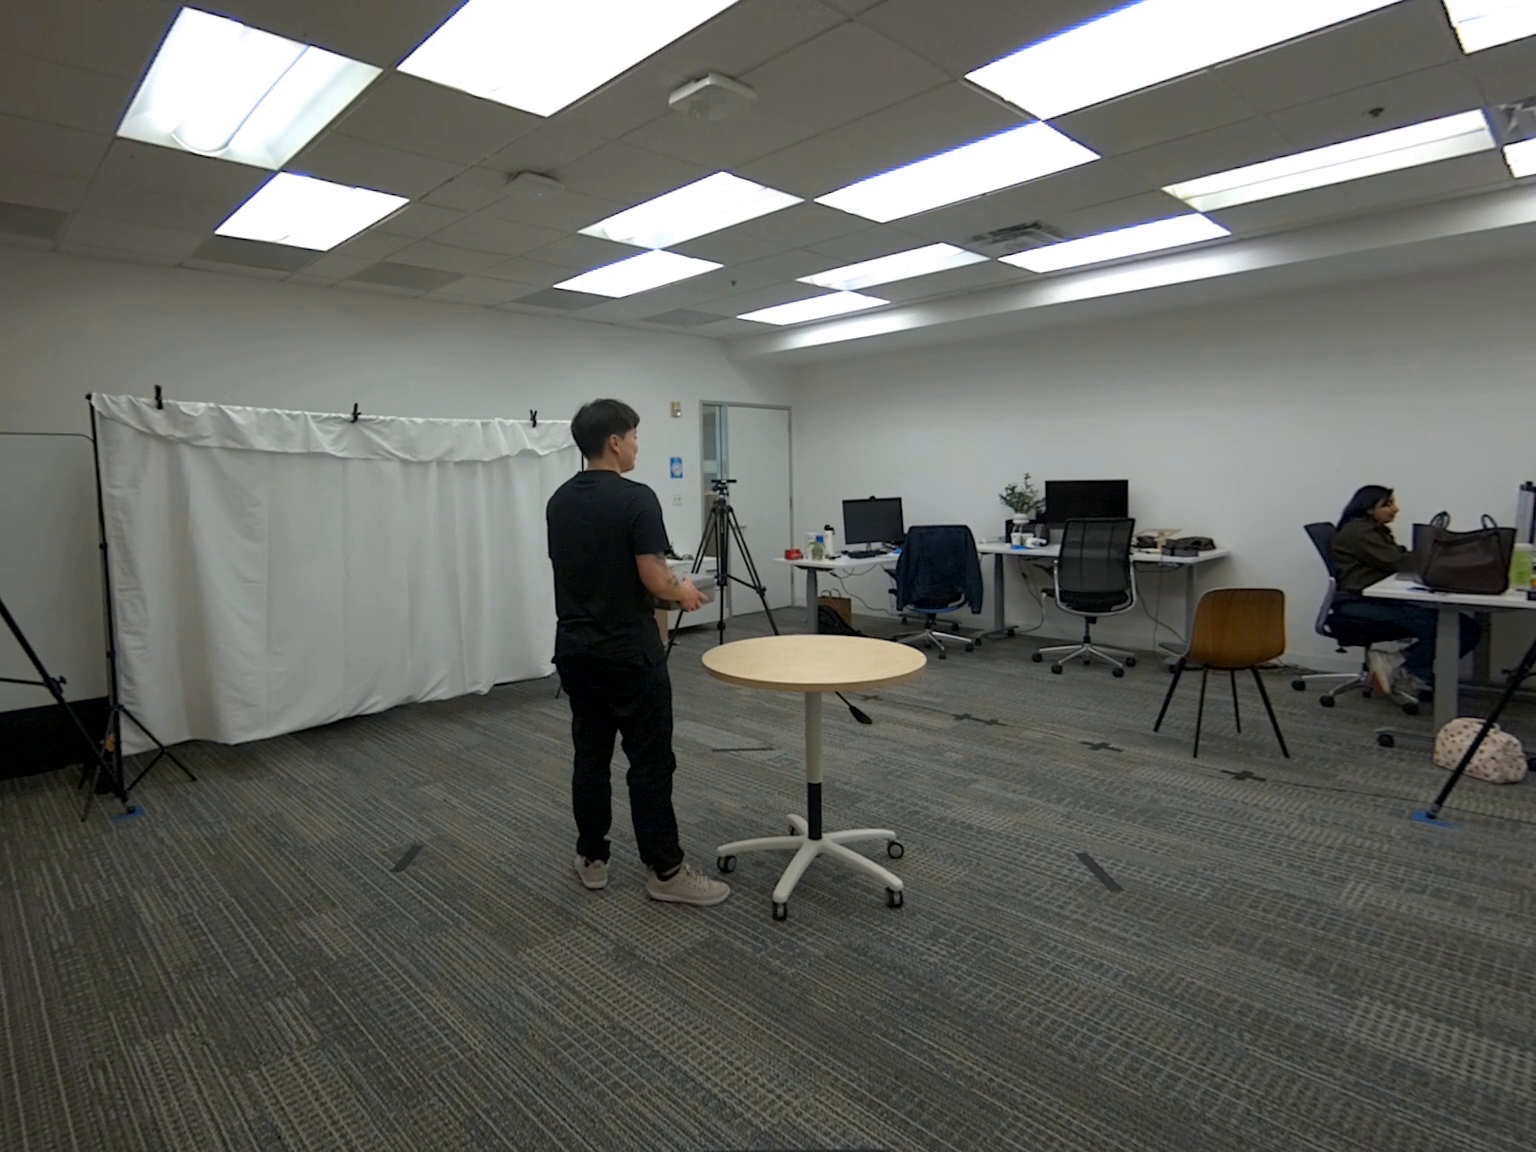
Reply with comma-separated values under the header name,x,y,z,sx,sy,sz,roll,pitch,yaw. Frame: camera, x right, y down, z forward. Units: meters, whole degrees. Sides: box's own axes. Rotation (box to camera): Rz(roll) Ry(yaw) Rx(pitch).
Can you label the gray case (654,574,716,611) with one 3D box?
name,x,y,z,sx,sy,sz,roll,pitch,yaw
gray case,-0.410,0.061,3.188,0.254,0.103,0.265,-10,12,-42
